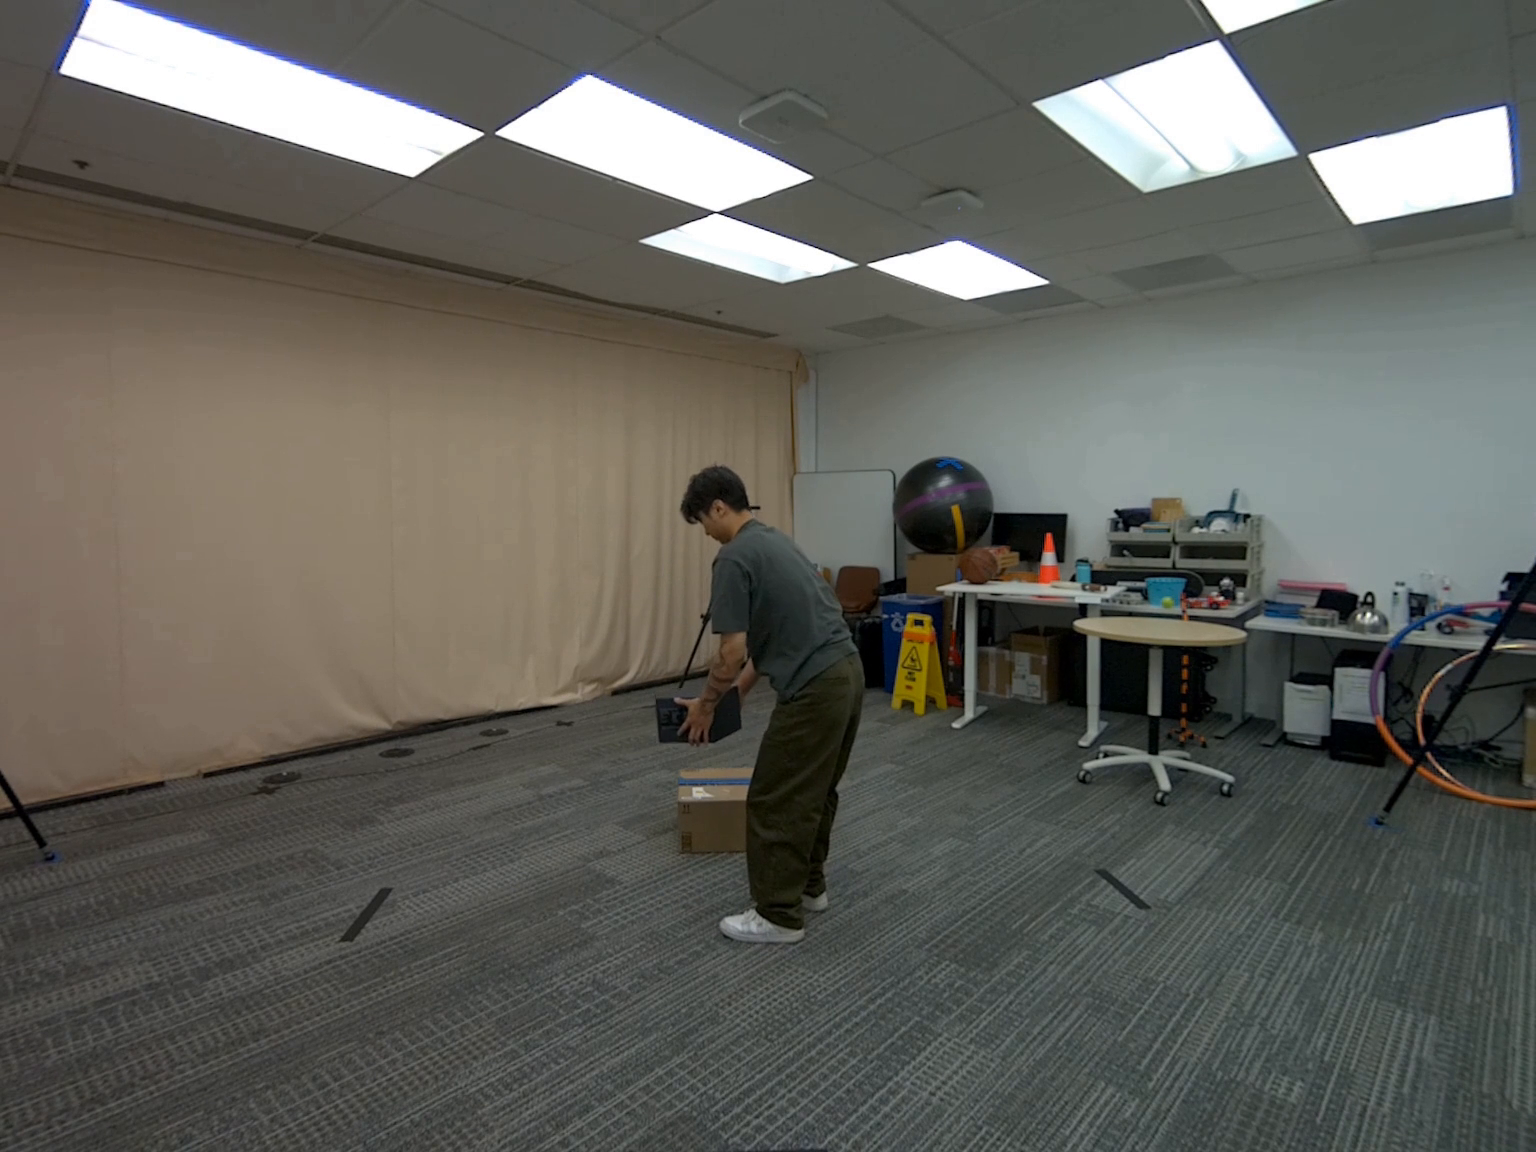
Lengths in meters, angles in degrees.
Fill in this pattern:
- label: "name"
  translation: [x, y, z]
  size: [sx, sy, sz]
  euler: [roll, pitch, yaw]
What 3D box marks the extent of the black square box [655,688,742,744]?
- label: "black square box"
  translation: [-0.240, 0.484, 2.953]
  size: [0.222, 0.156, 0.223]
  euler: [-5, 1, 24]
